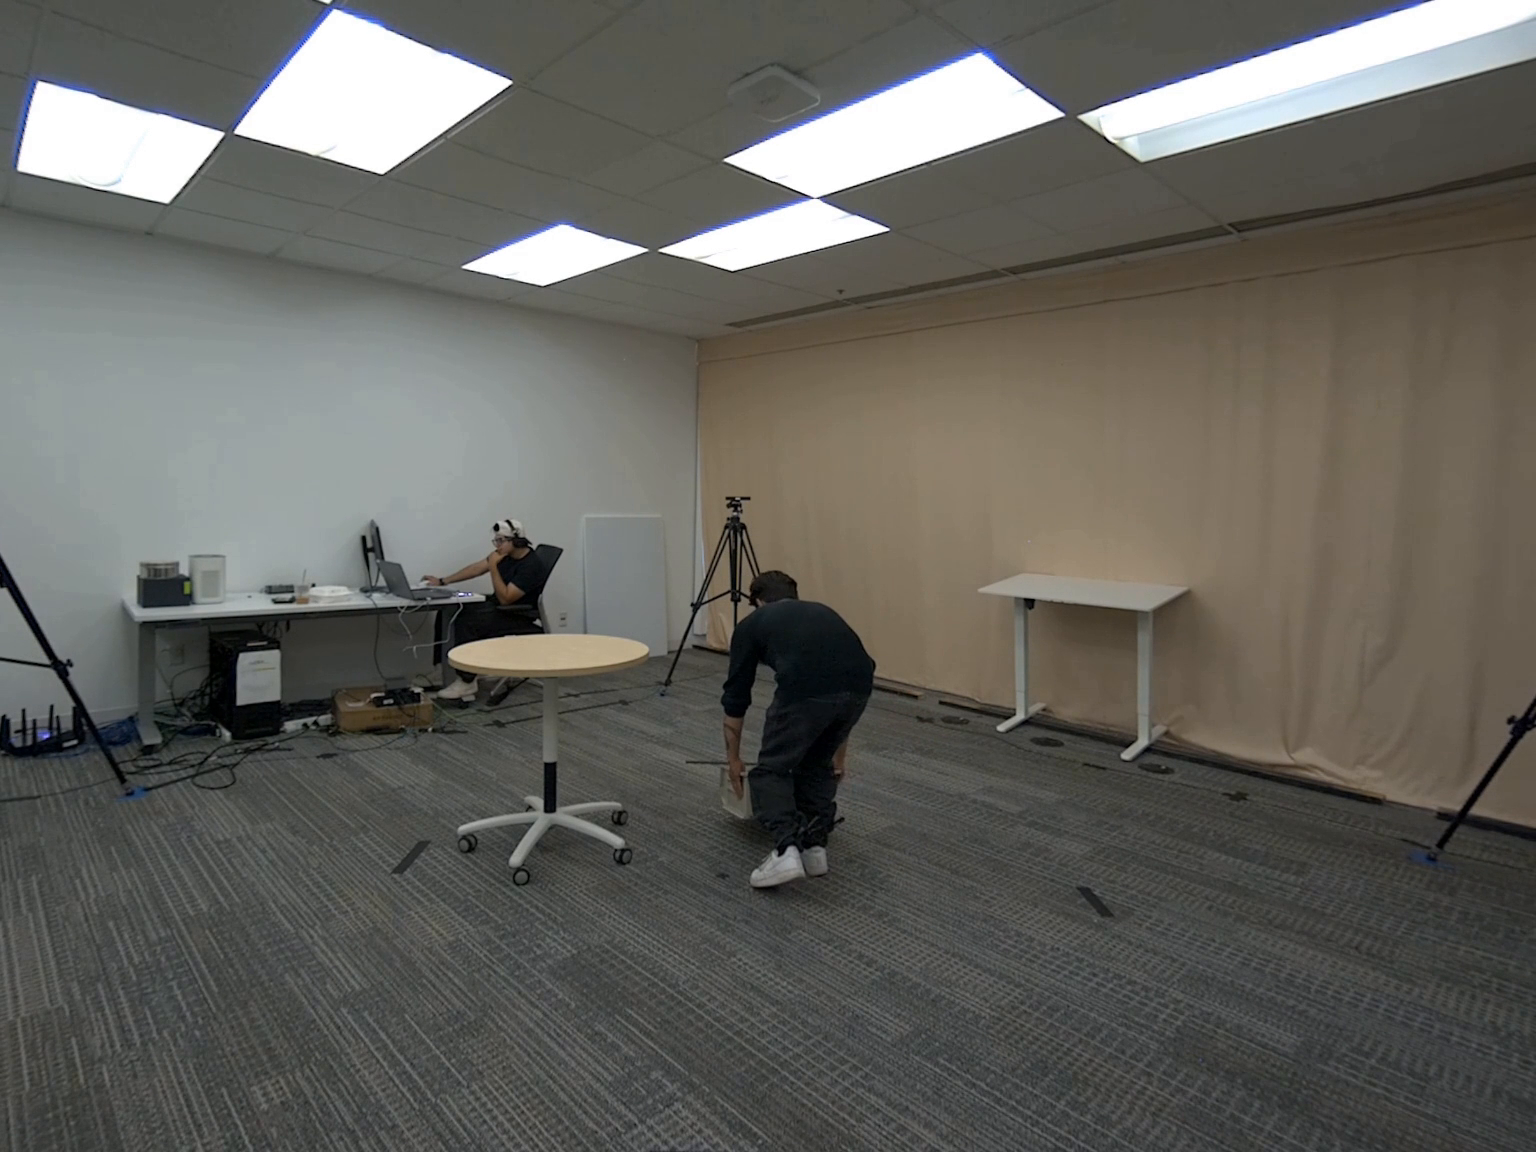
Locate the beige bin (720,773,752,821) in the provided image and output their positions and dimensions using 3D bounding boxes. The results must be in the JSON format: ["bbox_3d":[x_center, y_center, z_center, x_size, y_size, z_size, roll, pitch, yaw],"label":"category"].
[{"bbox_3d":[0.035,0.903,3.551,0.417,0.190,0.380,3,-7,-15],"label":"beige bin"}]
